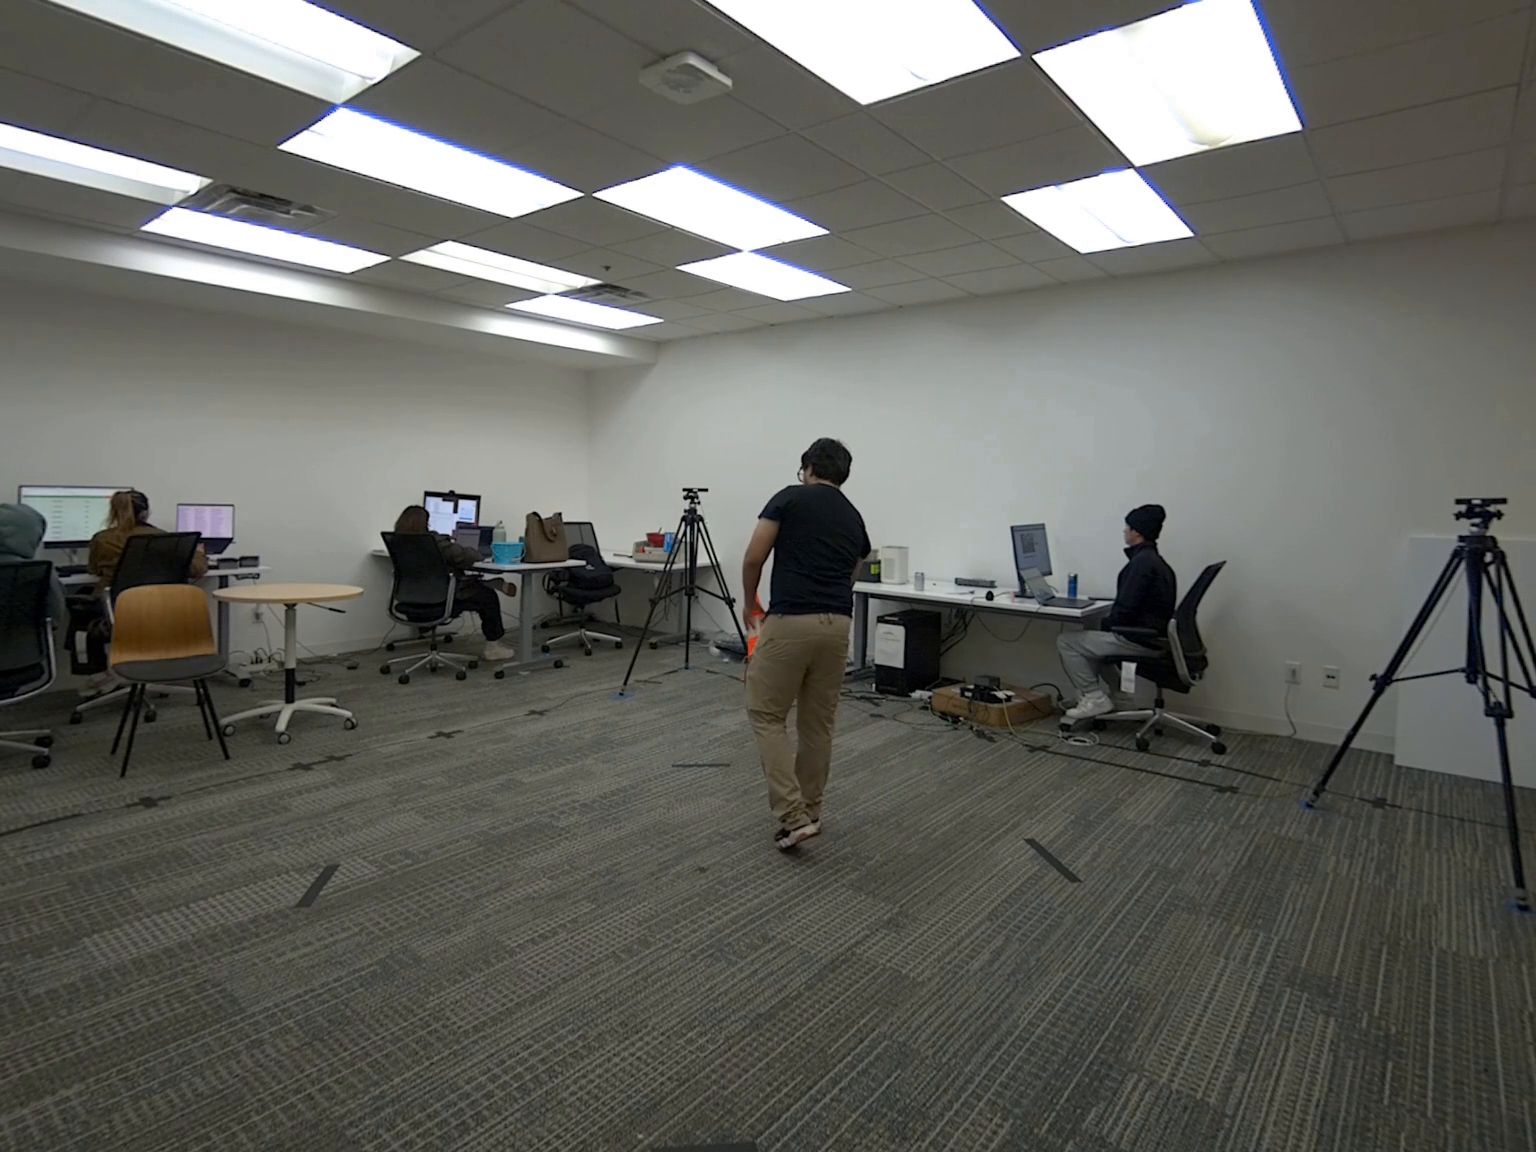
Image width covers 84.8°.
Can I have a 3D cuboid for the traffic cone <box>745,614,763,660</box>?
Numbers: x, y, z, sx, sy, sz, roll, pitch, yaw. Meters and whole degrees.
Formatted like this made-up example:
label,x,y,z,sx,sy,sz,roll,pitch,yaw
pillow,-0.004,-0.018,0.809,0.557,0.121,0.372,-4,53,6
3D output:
label,x,y,z,sx,sy,sz,roll,pitch,yaw
traffic cone,-0.036,0.235,3.666,0.199,0.388,0.207,1,-12,-20
